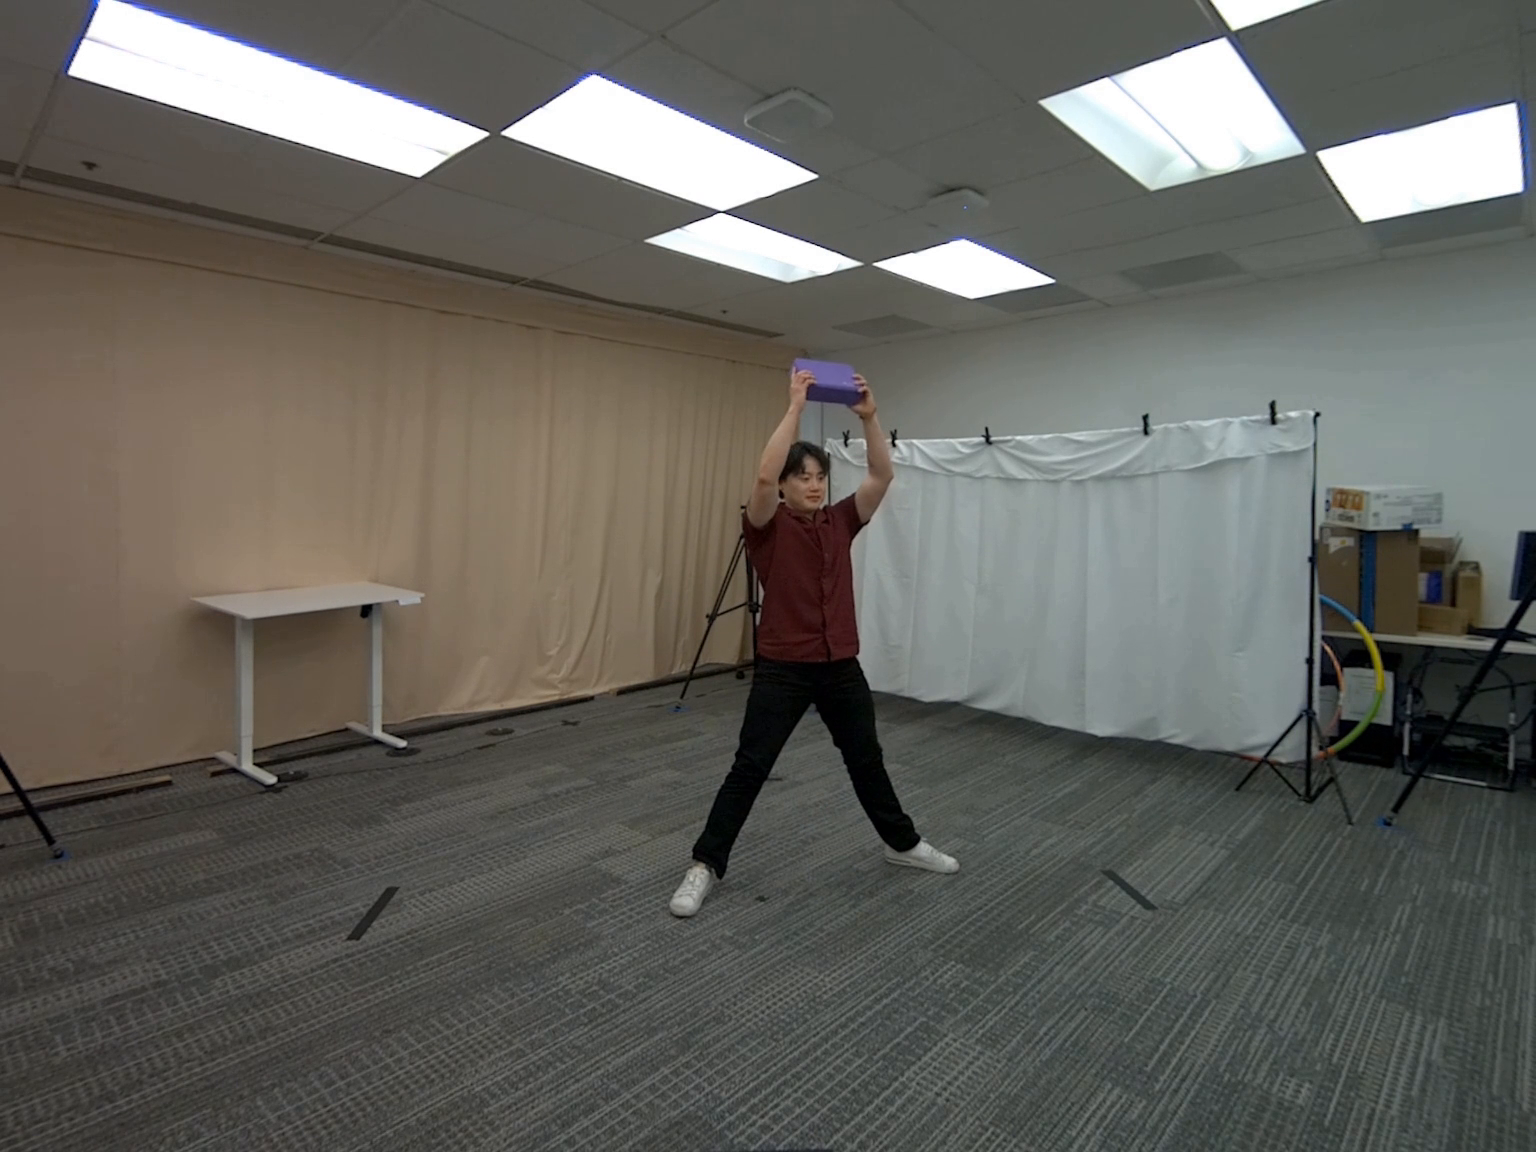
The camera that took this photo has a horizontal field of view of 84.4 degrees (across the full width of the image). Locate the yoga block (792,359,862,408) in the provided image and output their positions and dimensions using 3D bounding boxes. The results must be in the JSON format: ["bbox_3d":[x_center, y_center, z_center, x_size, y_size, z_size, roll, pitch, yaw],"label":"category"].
[{"bbox_3d":[0.214,-0.674,2.927,0.224,0.153,0.076,1,-41,-23],"label":"yoga block"}]
